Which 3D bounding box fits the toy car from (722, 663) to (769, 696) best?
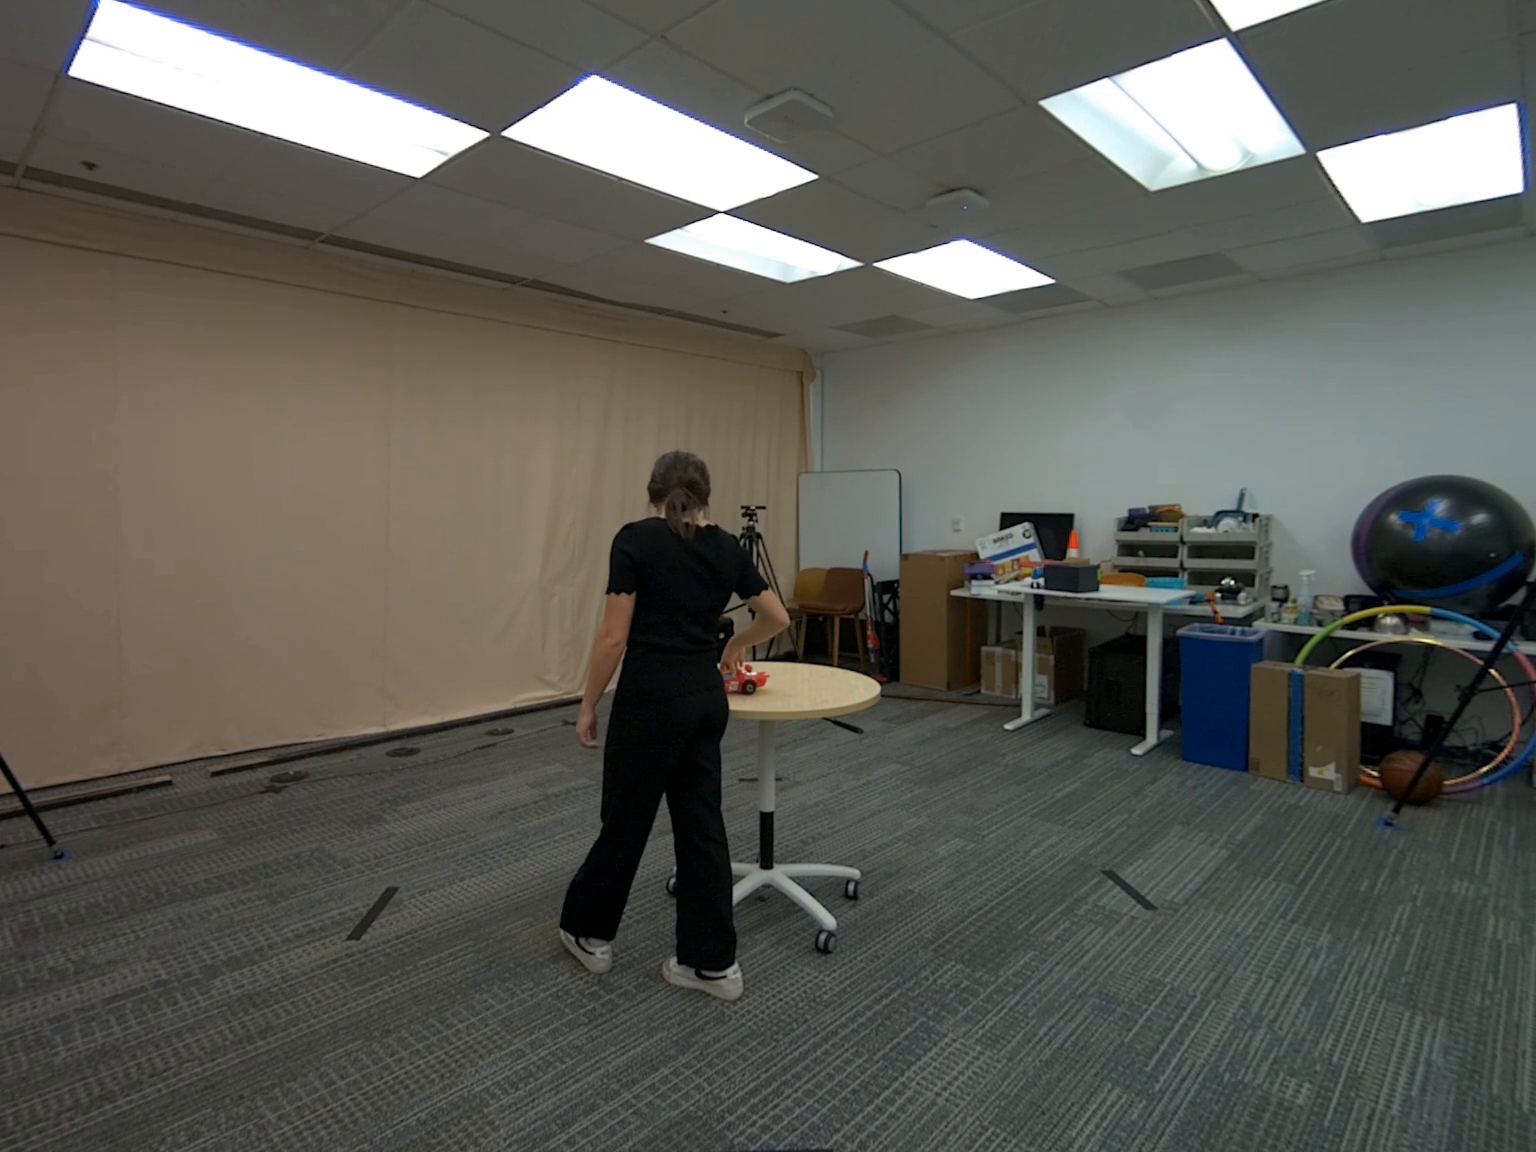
[{"bbox_3d":[-0.116,0.352,2.745,0.252,0.083,0.132,-13,6,-9],"label":"toy car"}]
